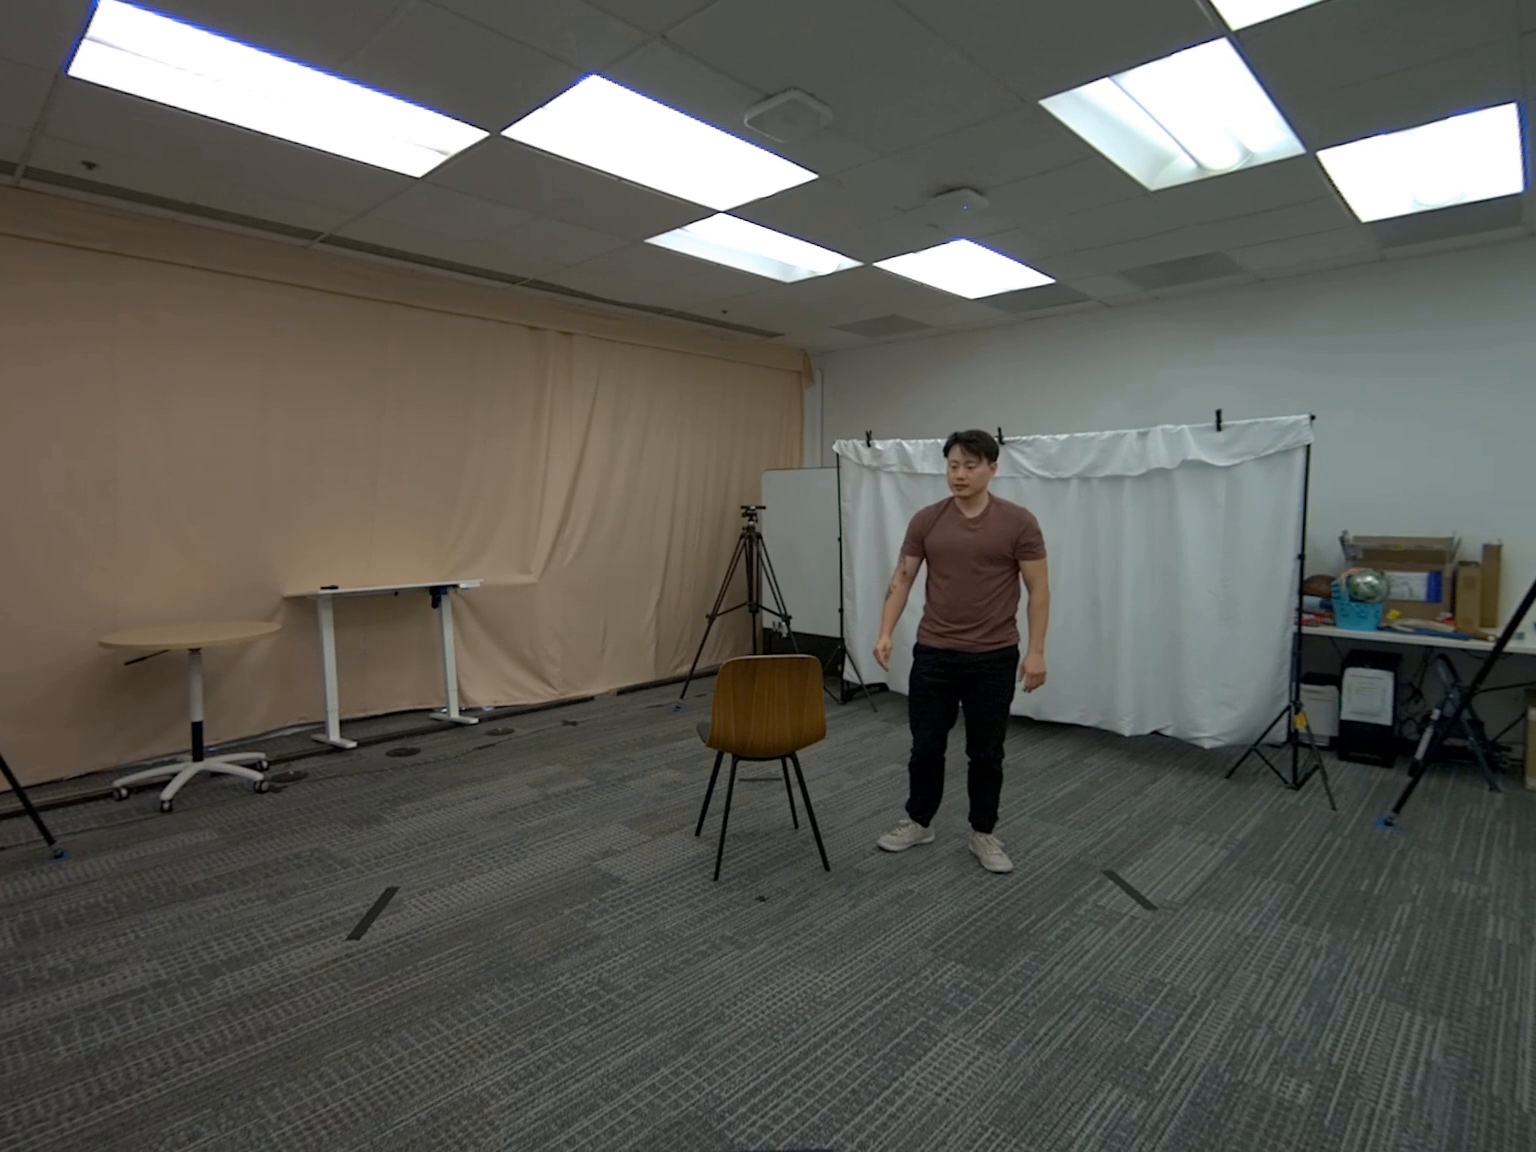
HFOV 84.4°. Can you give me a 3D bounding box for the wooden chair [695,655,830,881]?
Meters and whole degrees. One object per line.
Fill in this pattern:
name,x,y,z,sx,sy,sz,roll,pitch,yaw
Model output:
wooden chair,-0.037,0.687,3.364,0.472,0.873,0.532,-1,7,-12
